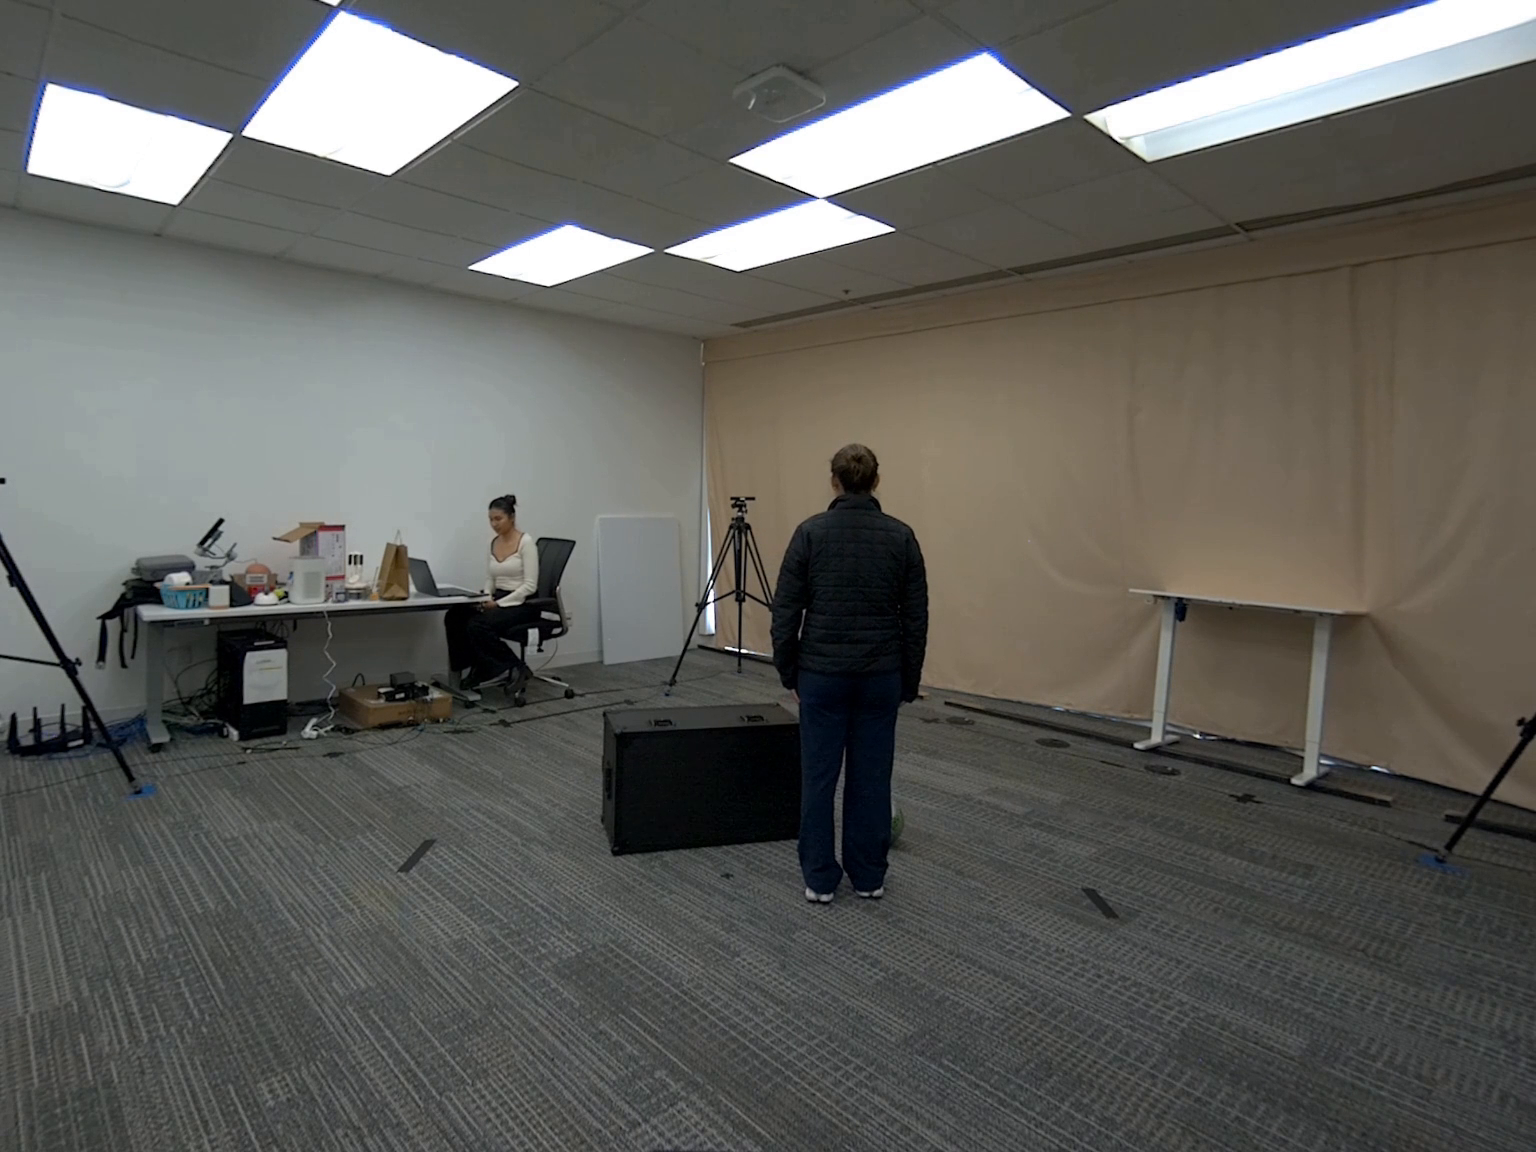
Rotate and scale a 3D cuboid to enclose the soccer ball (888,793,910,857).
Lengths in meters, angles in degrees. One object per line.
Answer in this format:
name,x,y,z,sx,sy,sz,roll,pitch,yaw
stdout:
soccer ball,0.456,1.005,3.441,0.187,0.187,0.188,1,4,-1
